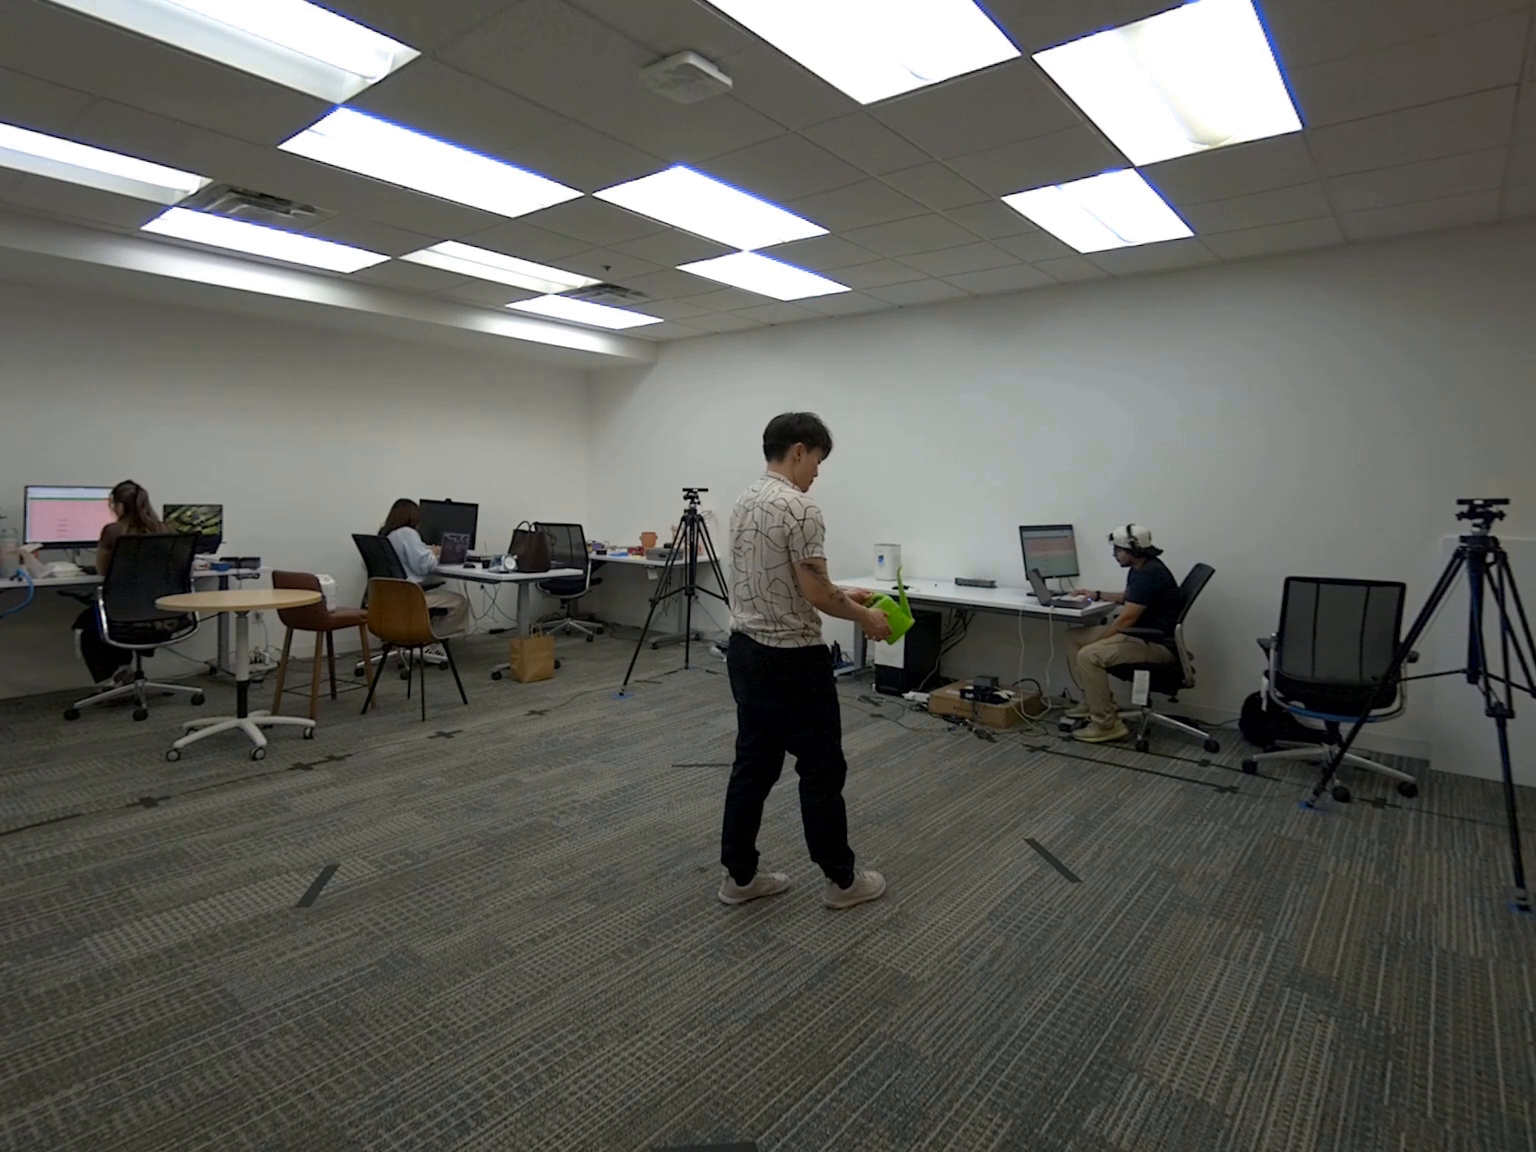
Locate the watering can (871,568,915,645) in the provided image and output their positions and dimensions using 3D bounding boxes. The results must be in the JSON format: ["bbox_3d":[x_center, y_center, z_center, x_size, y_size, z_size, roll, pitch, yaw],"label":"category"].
[{"bbox_3d":[0.432,0.115,3.023,0.180,0.277,0.097,44,30,11],"label":"watering can"}]
